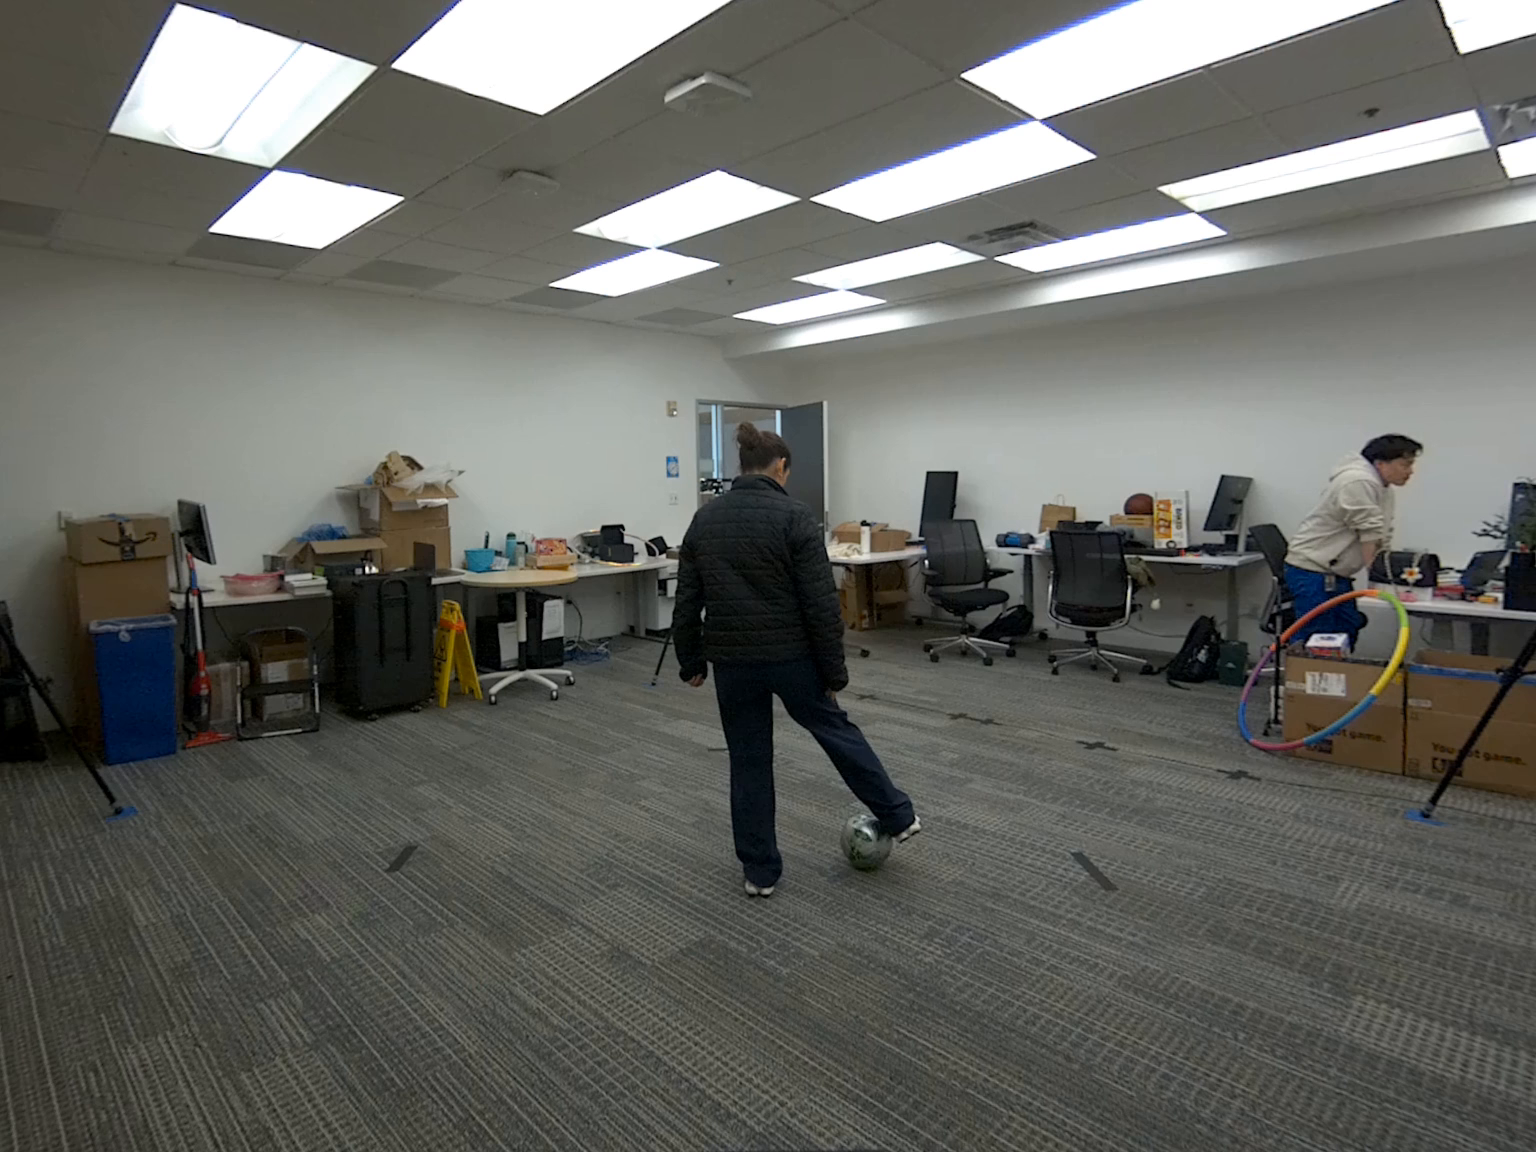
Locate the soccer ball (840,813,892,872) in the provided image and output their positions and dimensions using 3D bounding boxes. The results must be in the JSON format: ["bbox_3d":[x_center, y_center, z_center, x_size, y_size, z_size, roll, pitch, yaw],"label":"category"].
[{"bbox_3d":[0.337,0.949,3.066,0.187,0.187,0.188,-1,5,-2],"label":"soccer ball"}]
